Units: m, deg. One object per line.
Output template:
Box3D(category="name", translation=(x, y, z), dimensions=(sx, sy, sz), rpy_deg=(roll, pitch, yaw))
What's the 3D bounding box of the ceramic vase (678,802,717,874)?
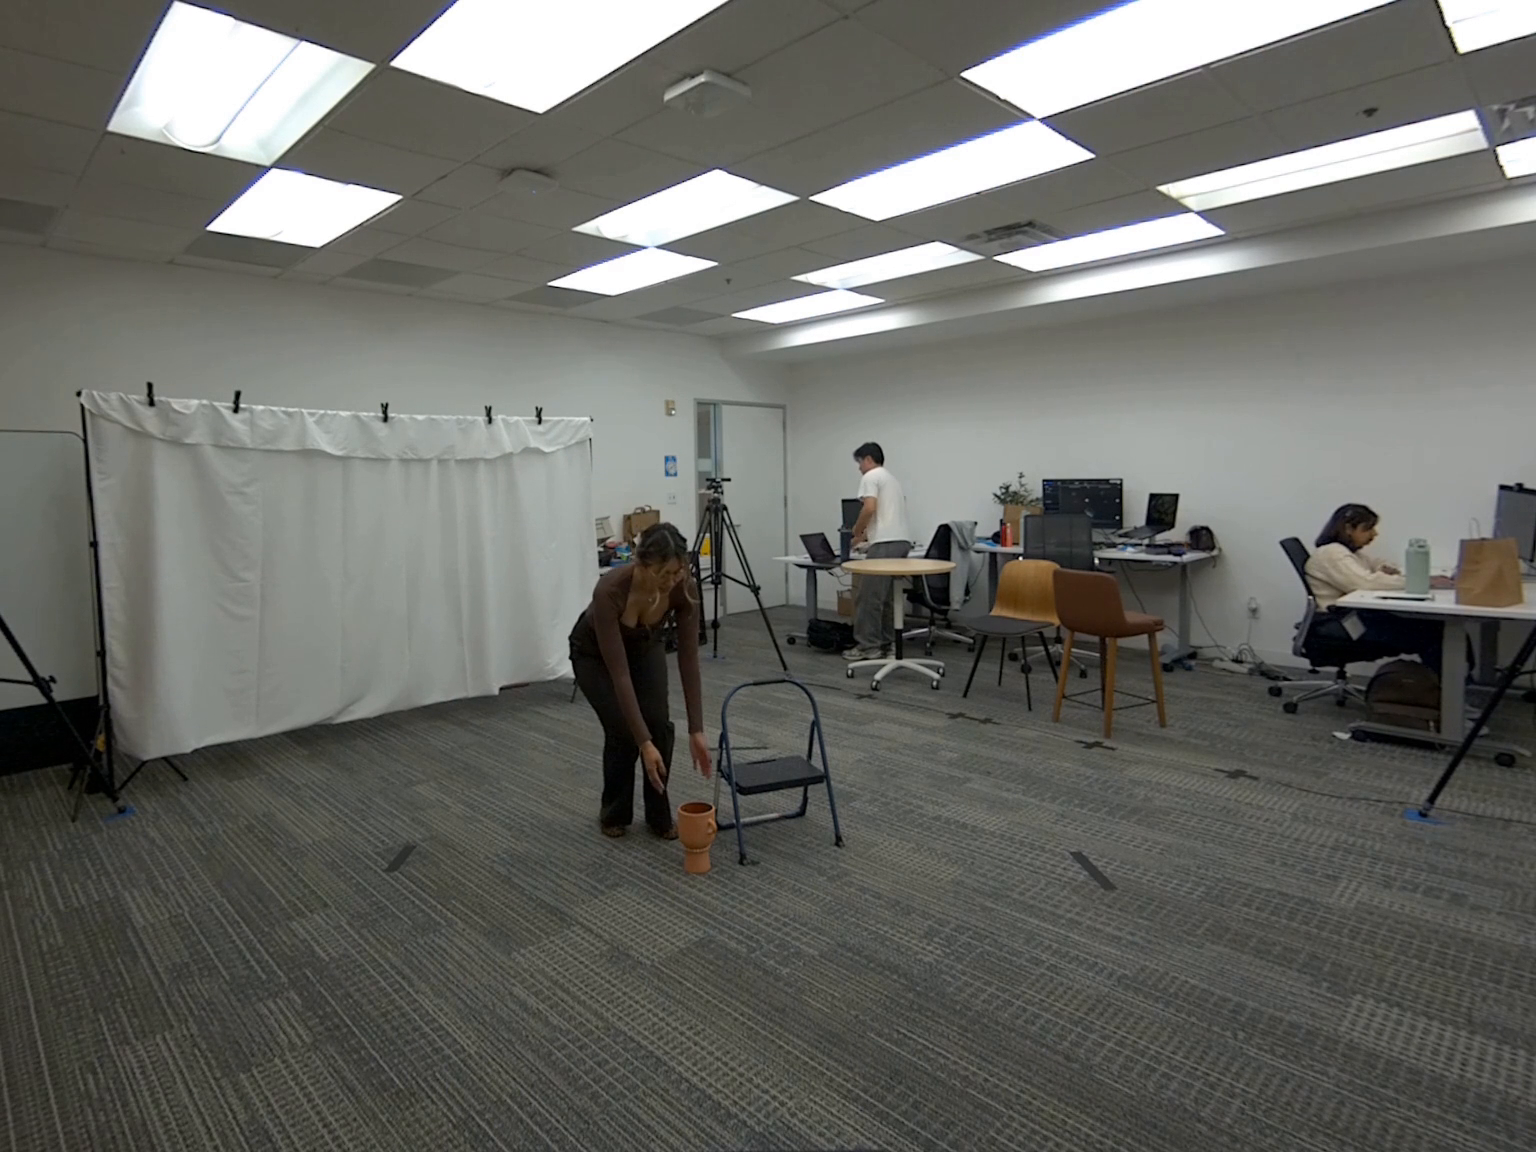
Box3D(category="ceramic vase", translation=(-0.250, 0.934, 3.068), dimensions=(0.133, 0.219, 0.161), rpy_deg=(-1, 4, -10))
